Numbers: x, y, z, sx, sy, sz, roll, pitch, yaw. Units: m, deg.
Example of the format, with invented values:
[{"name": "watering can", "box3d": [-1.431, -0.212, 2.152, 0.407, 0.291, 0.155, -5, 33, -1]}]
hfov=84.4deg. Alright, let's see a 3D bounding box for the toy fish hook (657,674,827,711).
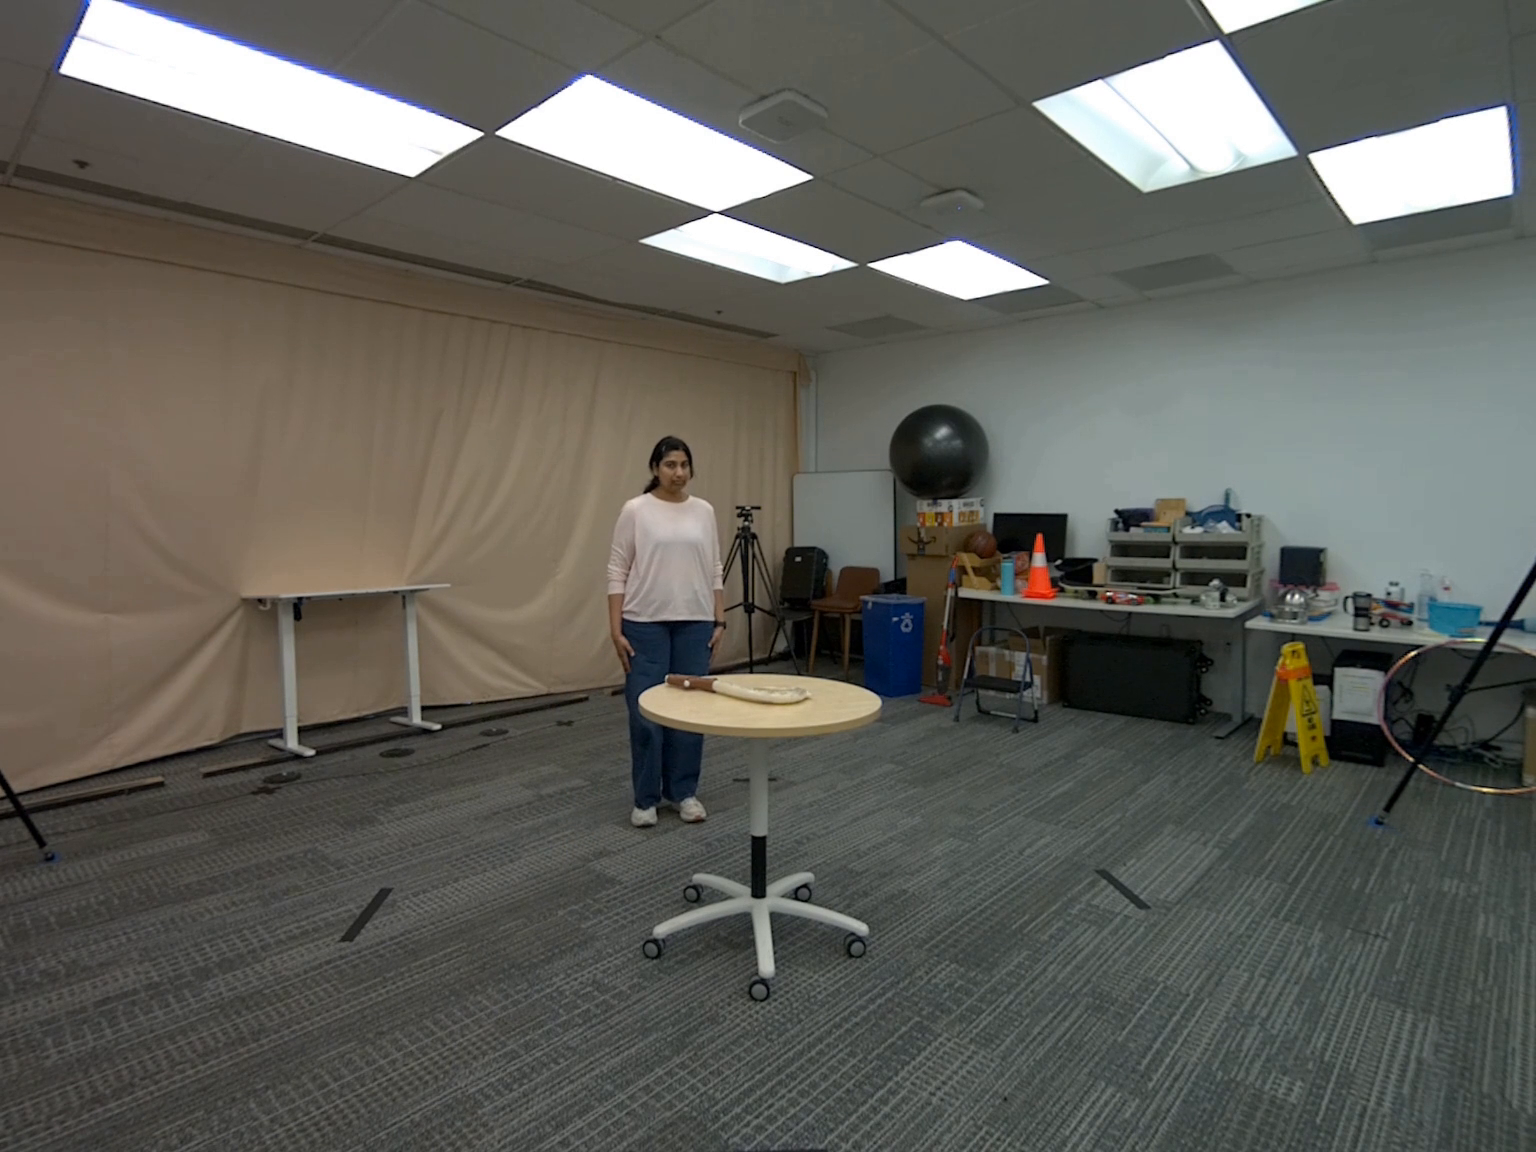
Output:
[{"name": "toy fish hook", "box3d": [-0.092, 0.368, 2.747, 0.522, 0.048, 0.217, 4, -4, 34]}]
